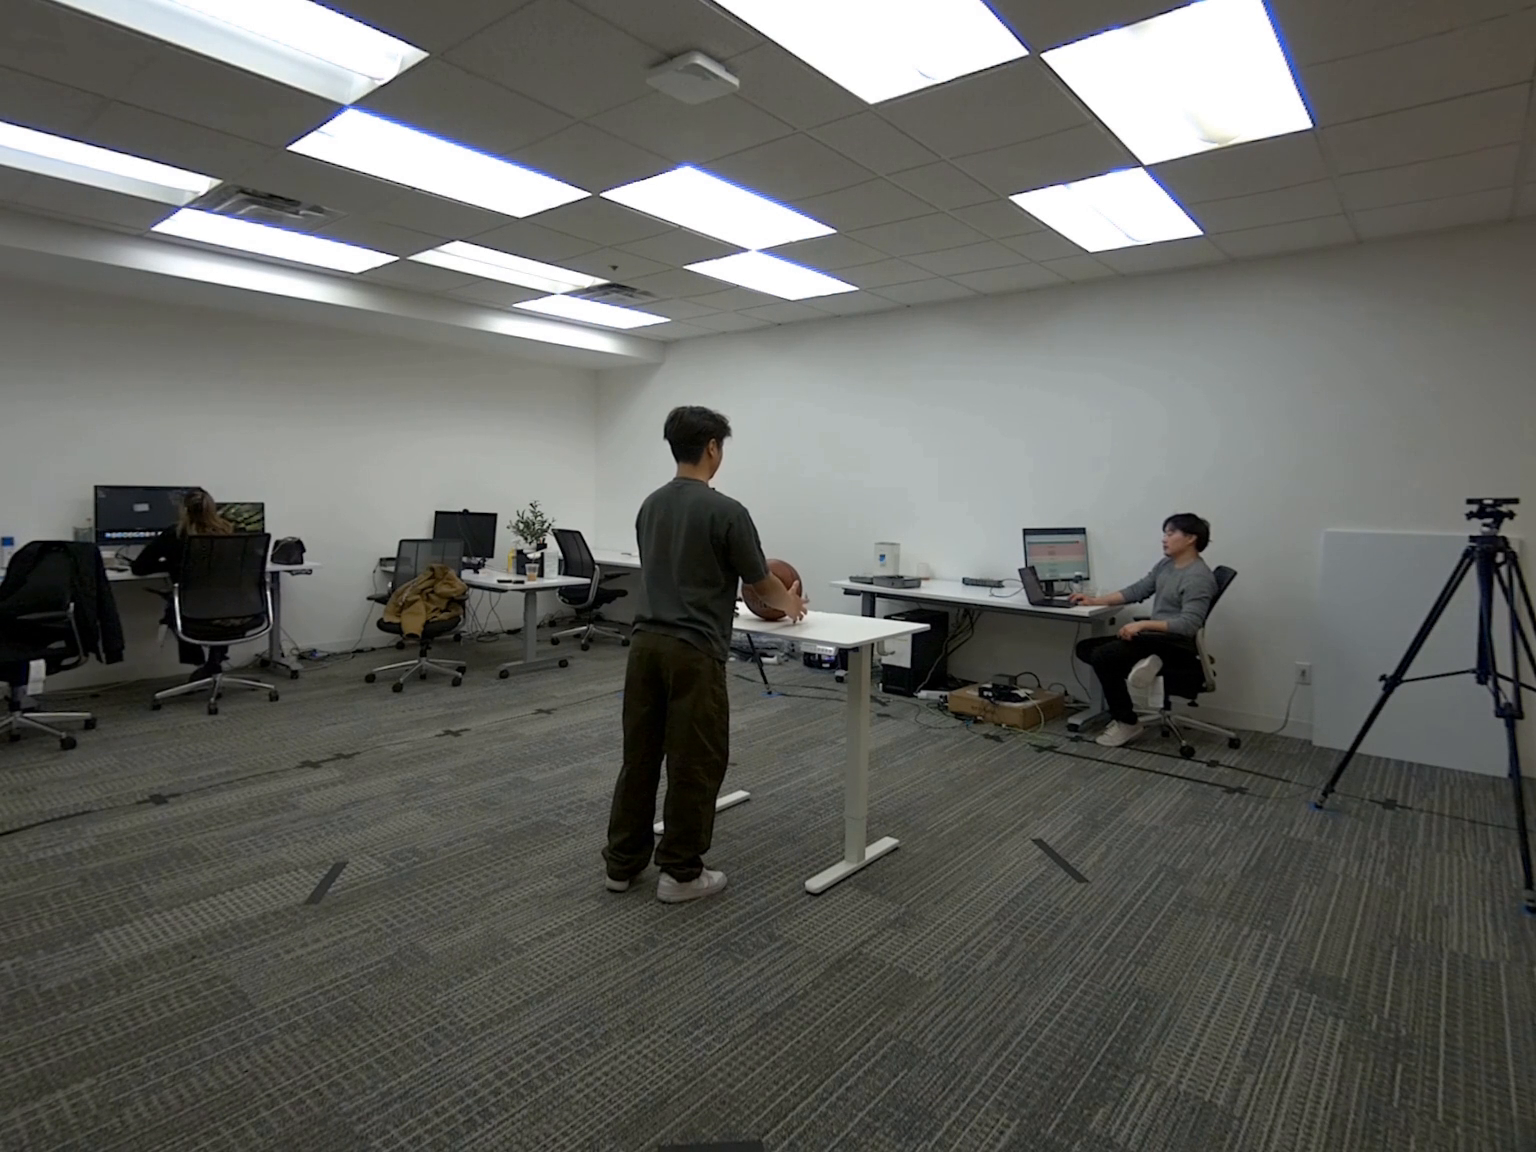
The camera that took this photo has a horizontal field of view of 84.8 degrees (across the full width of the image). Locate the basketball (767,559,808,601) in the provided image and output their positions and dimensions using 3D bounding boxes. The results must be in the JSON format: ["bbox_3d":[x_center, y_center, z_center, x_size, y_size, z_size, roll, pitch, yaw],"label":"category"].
[{"bbox_3d":[0.002,0.050,3.318,0.235,0.235,0.237,1,4,-2],"label":"basketball"}]
